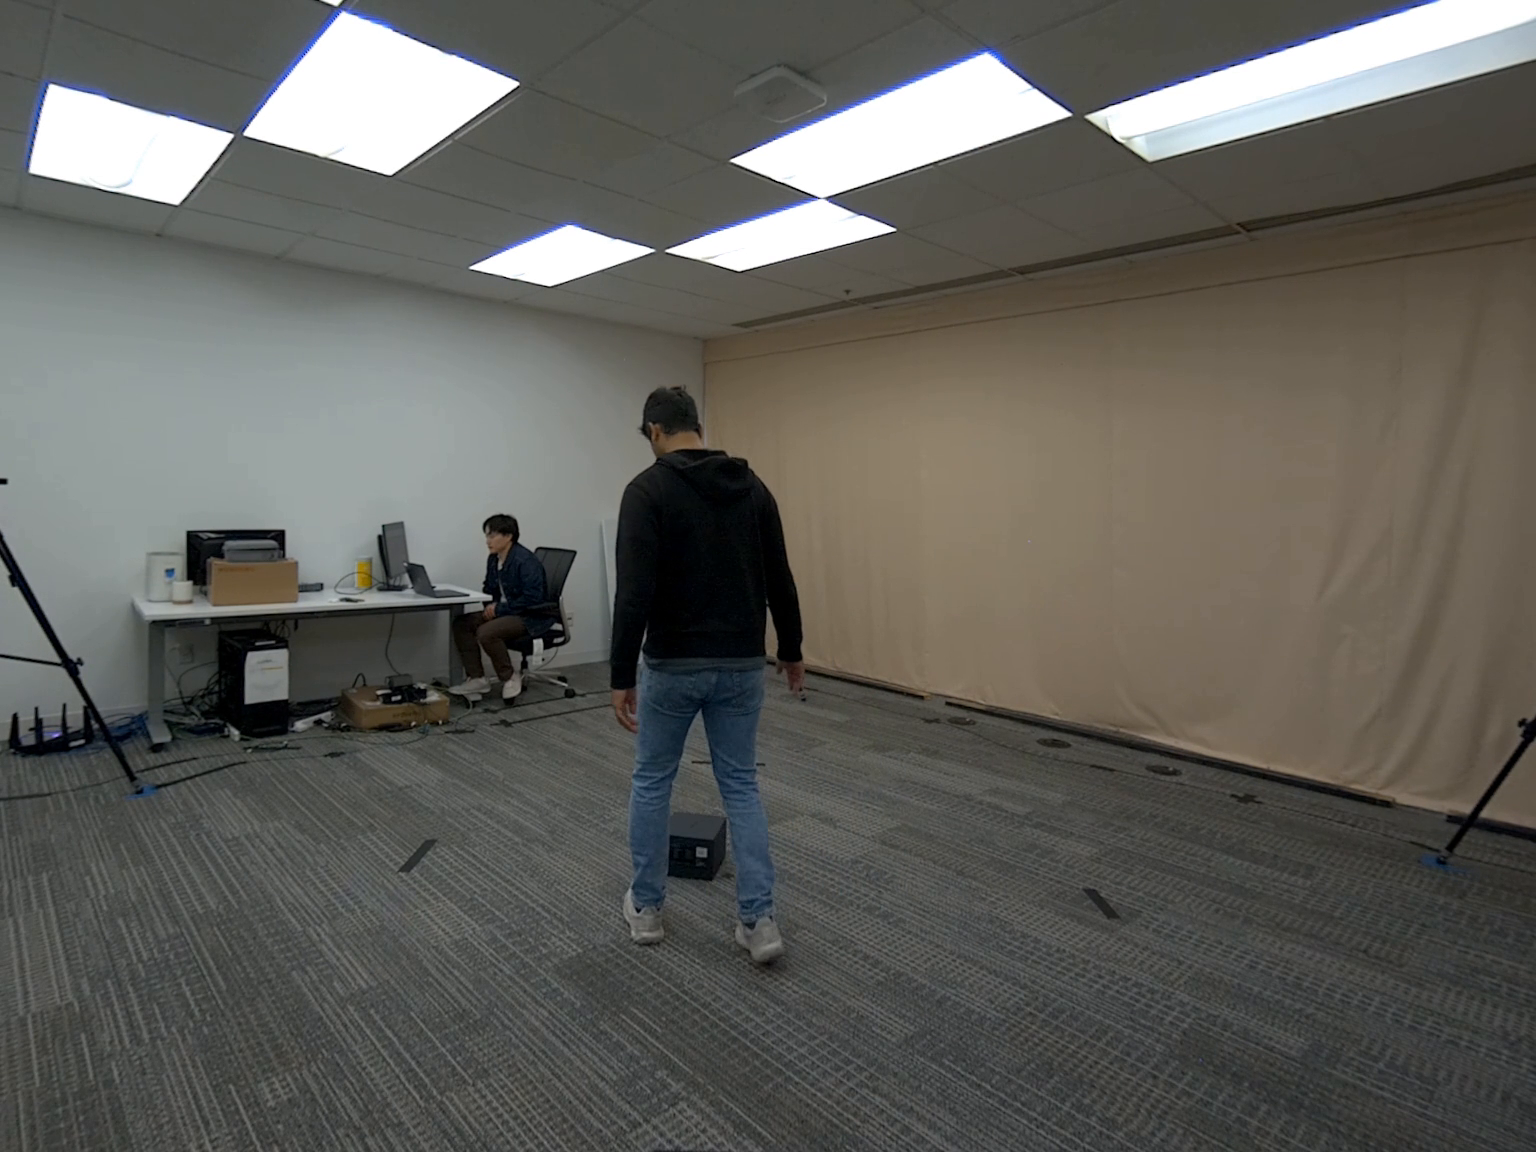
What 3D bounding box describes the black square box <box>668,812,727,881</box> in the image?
[{"bbox_3d":[-0.298,1.011,3.166,0.219,0.155,0.226,3,5,10],"label":"black square box"}]
